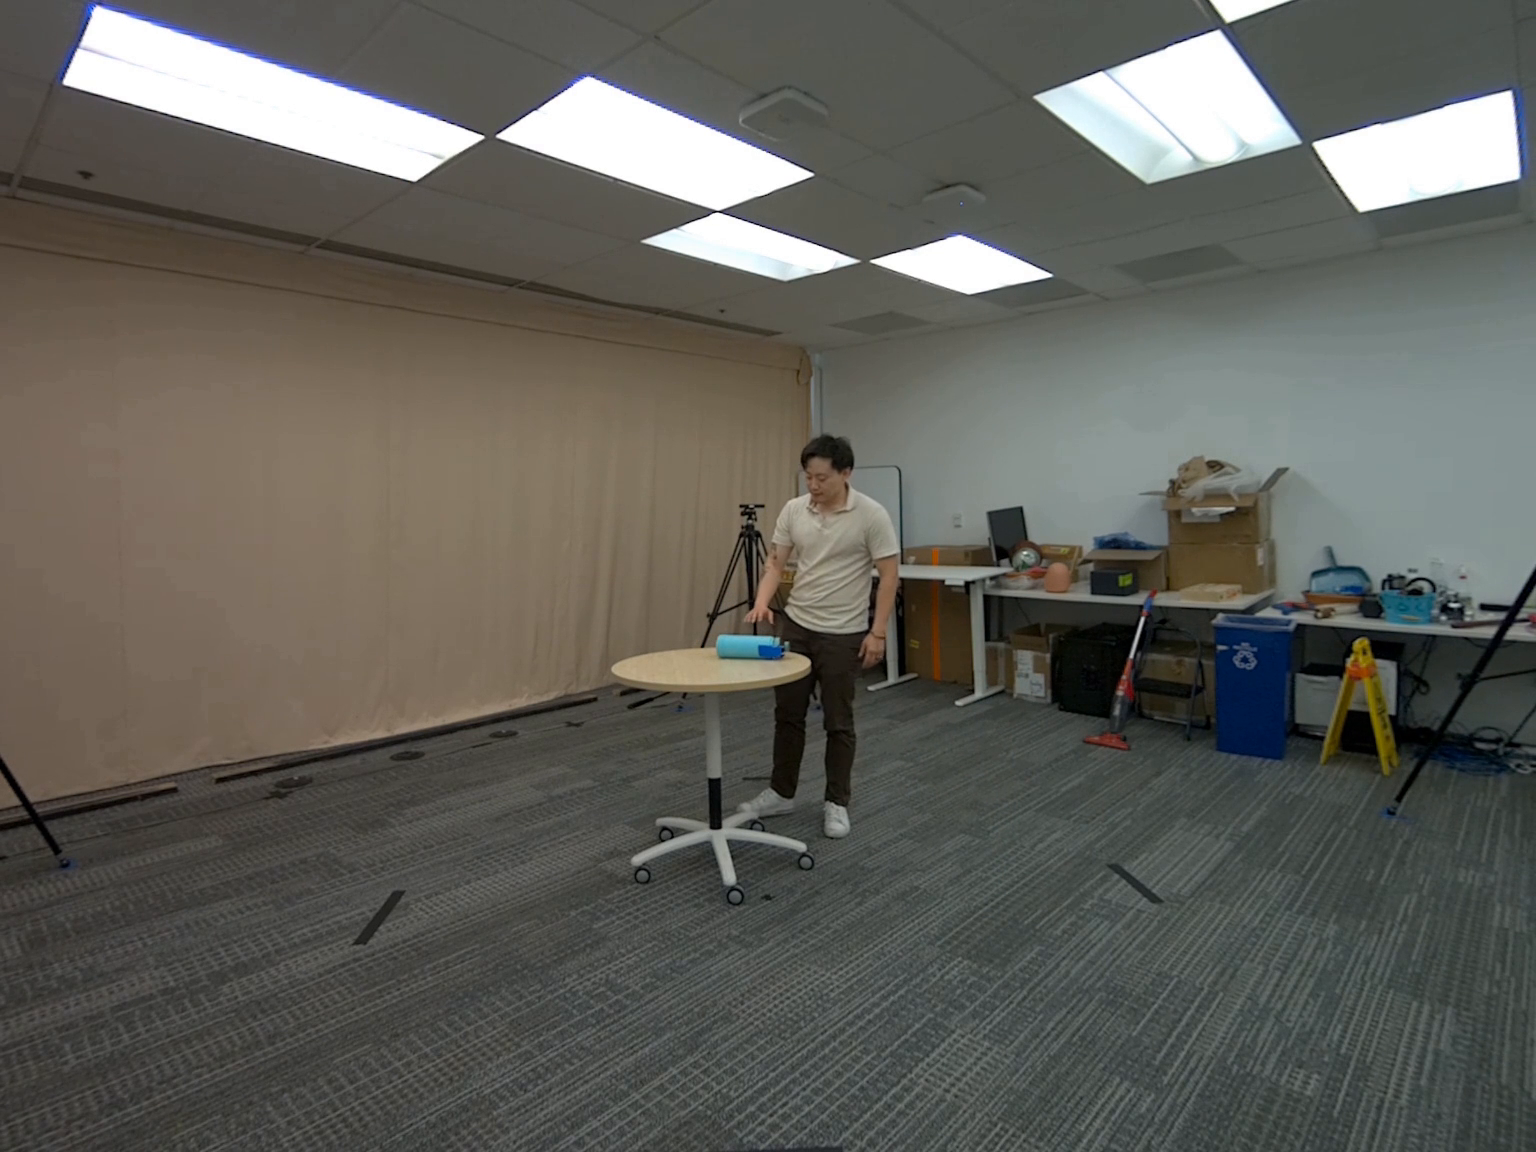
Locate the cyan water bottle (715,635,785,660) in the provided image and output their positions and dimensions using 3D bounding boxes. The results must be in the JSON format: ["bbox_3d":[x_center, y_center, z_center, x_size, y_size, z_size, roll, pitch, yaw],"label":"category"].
[{"bbox_3d":[-0.062,0.283,3.335,0.288,0.092,0.091,0,4,17],"label":"cyan water bottle"}]
